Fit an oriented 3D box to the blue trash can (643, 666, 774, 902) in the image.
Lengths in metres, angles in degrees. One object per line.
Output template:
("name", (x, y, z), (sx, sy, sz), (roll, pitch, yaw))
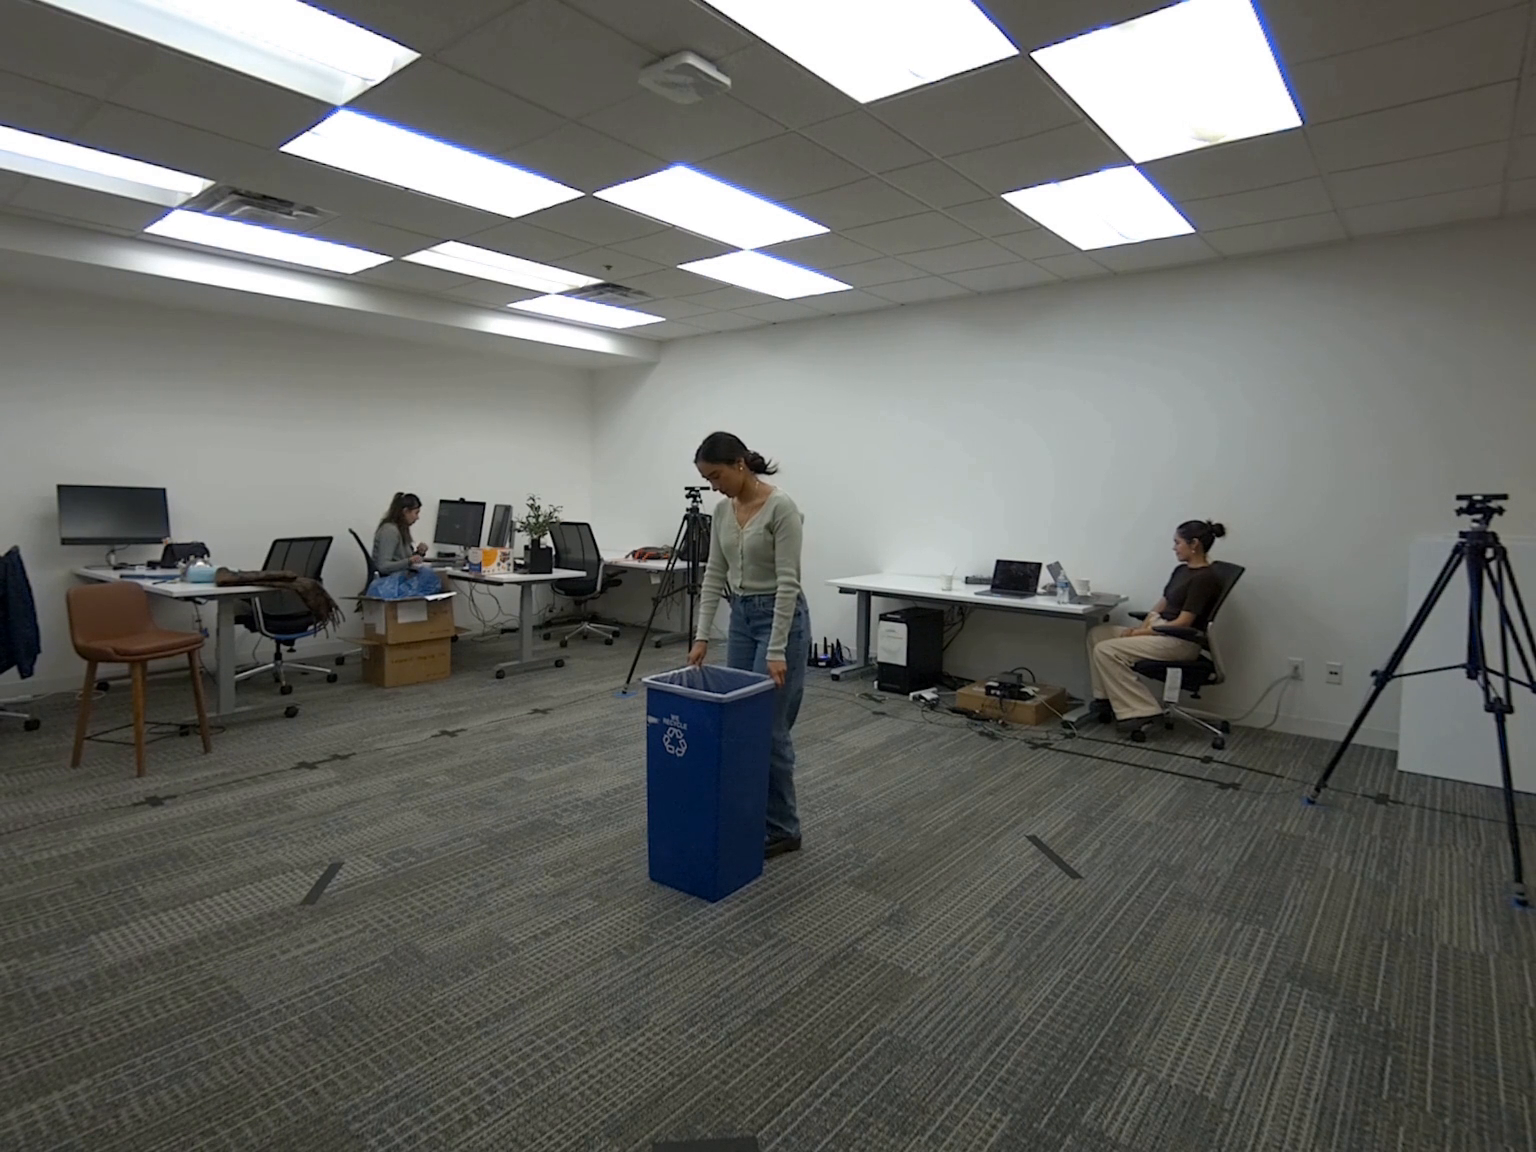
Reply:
("blue trash can", (-0.216, 0.714, 3.025), (0.386, 0.712, 0.367), (3, 4, 35))
